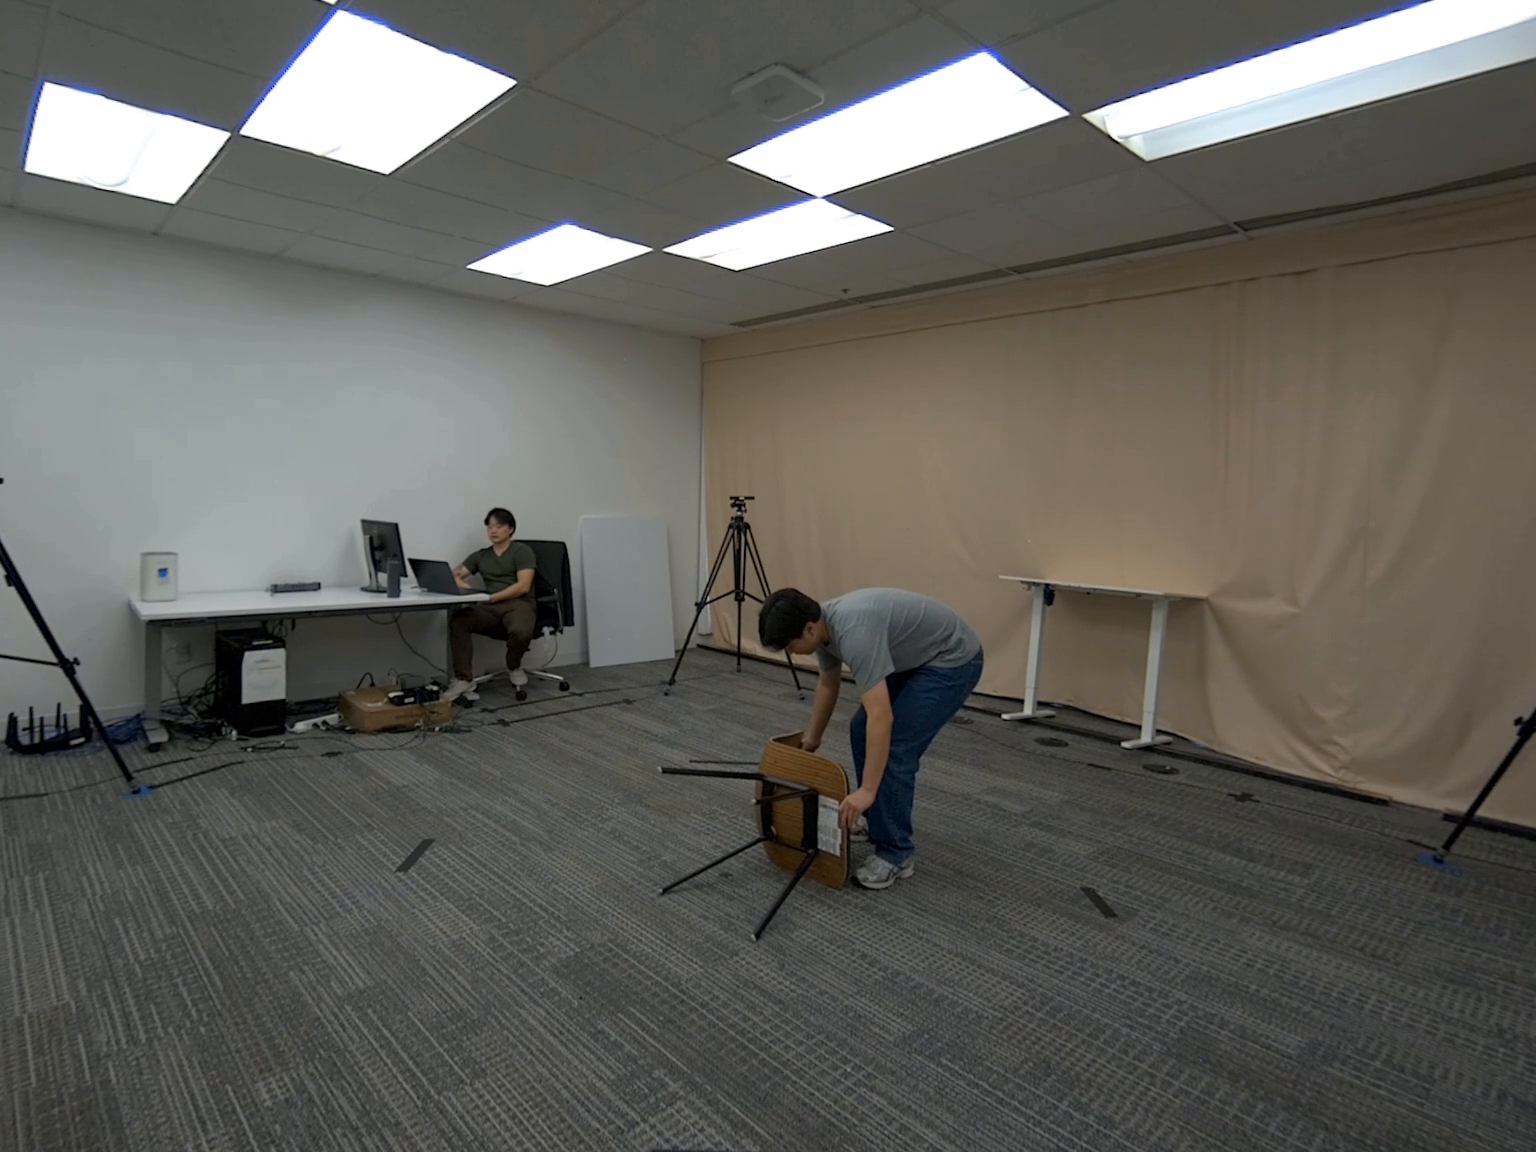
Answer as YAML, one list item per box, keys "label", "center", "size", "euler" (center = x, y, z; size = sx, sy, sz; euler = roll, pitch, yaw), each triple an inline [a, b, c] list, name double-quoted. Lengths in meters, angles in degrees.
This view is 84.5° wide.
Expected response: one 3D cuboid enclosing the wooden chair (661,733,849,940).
- label: "wooden chair"
  center: [0.067, 0.877, 3.080]
  size: [0.536, 0.477, 0.859]
  euler: [3, 5, 37]
